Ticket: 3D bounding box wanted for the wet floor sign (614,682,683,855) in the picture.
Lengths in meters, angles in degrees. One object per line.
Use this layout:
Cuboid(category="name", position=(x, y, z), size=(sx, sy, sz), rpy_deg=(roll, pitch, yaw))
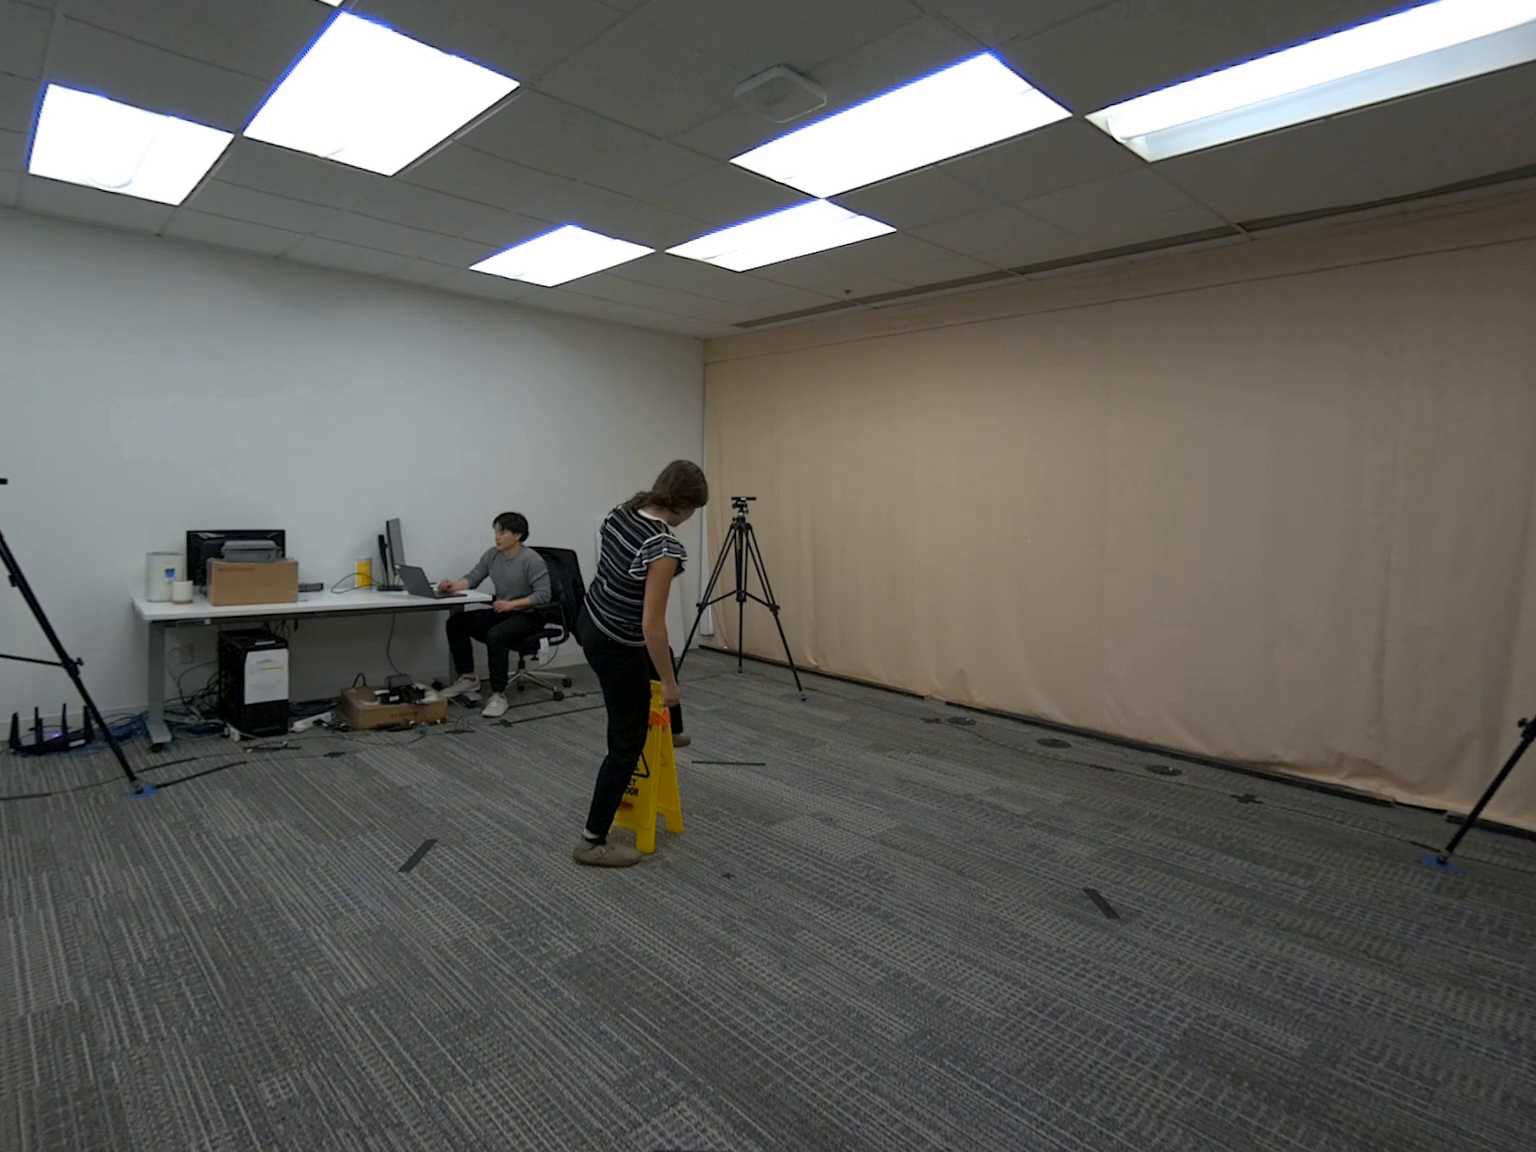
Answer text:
Cuboid(category="wet floor sign", position=(-0.530, 0.748, 3.439), size=(0.288, 0.645, 0.285), rpy_deg=(3, 2, 24))
